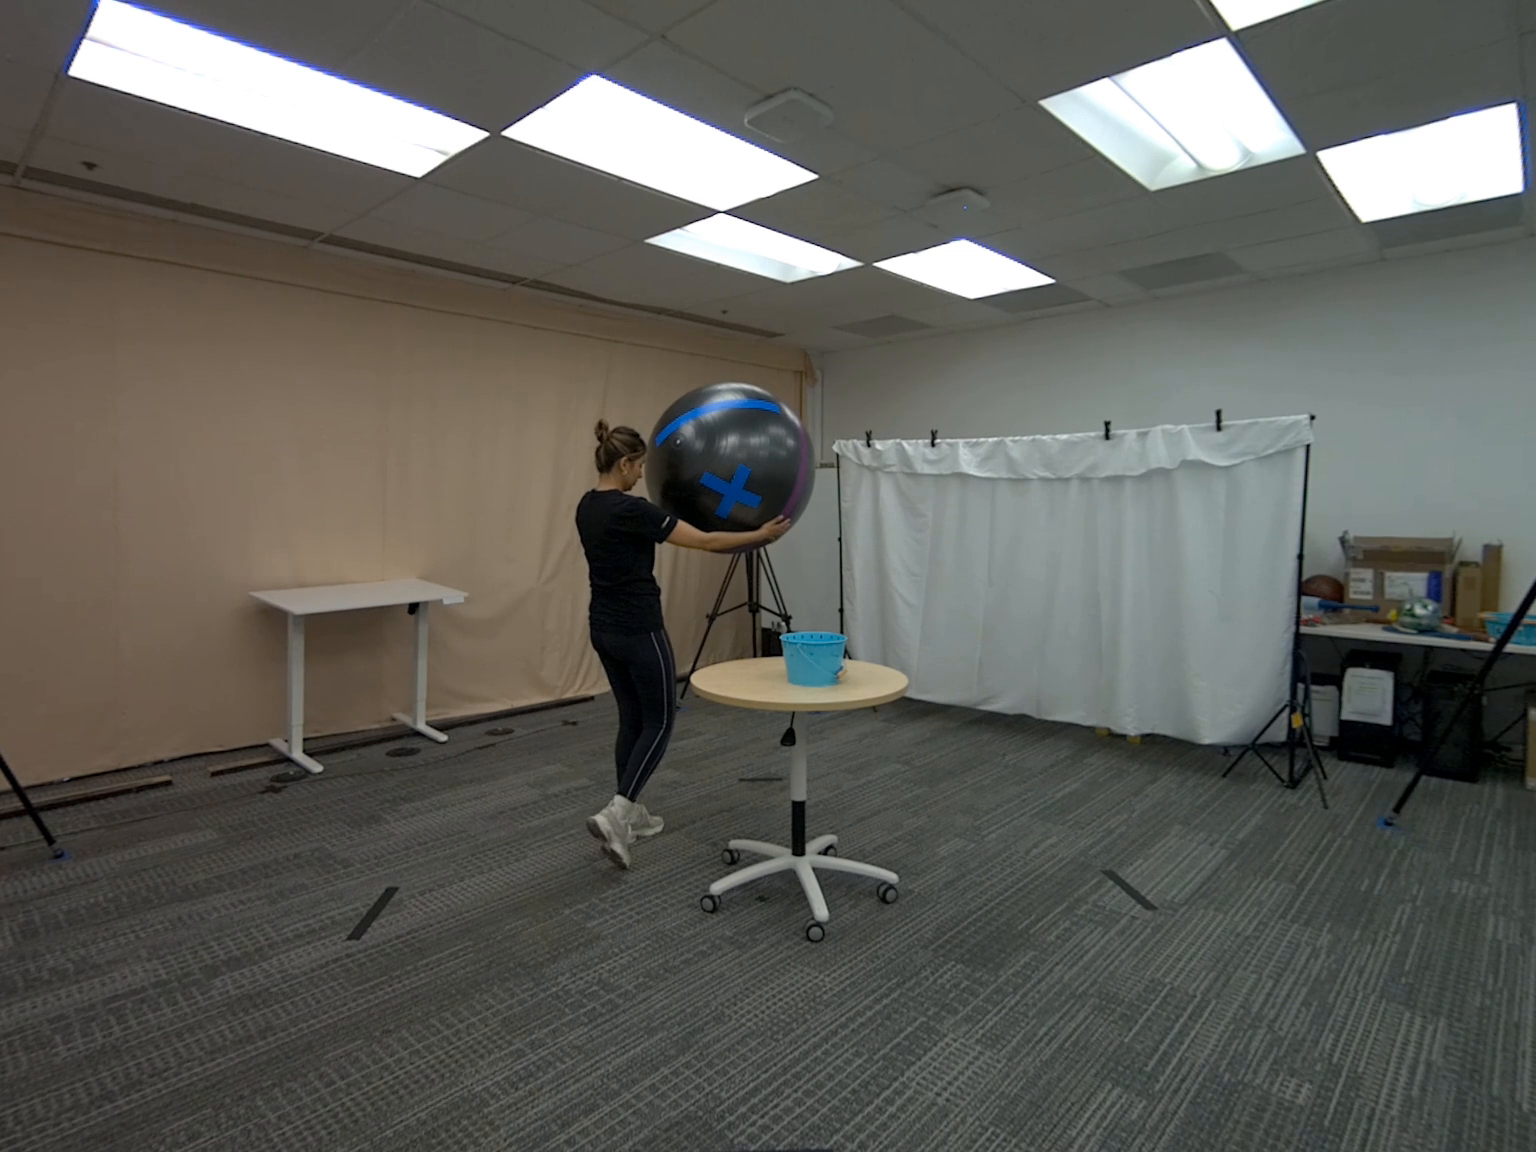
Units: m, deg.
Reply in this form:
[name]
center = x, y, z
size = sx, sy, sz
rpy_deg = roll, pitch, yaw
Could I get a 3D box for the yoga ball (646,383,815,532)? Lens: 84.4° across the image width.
[yoga ball]
center = -0.162, -0.467, 3.731
size = 0.757, 0.756, 0.761
rpy_deg = 0, 4, -2
